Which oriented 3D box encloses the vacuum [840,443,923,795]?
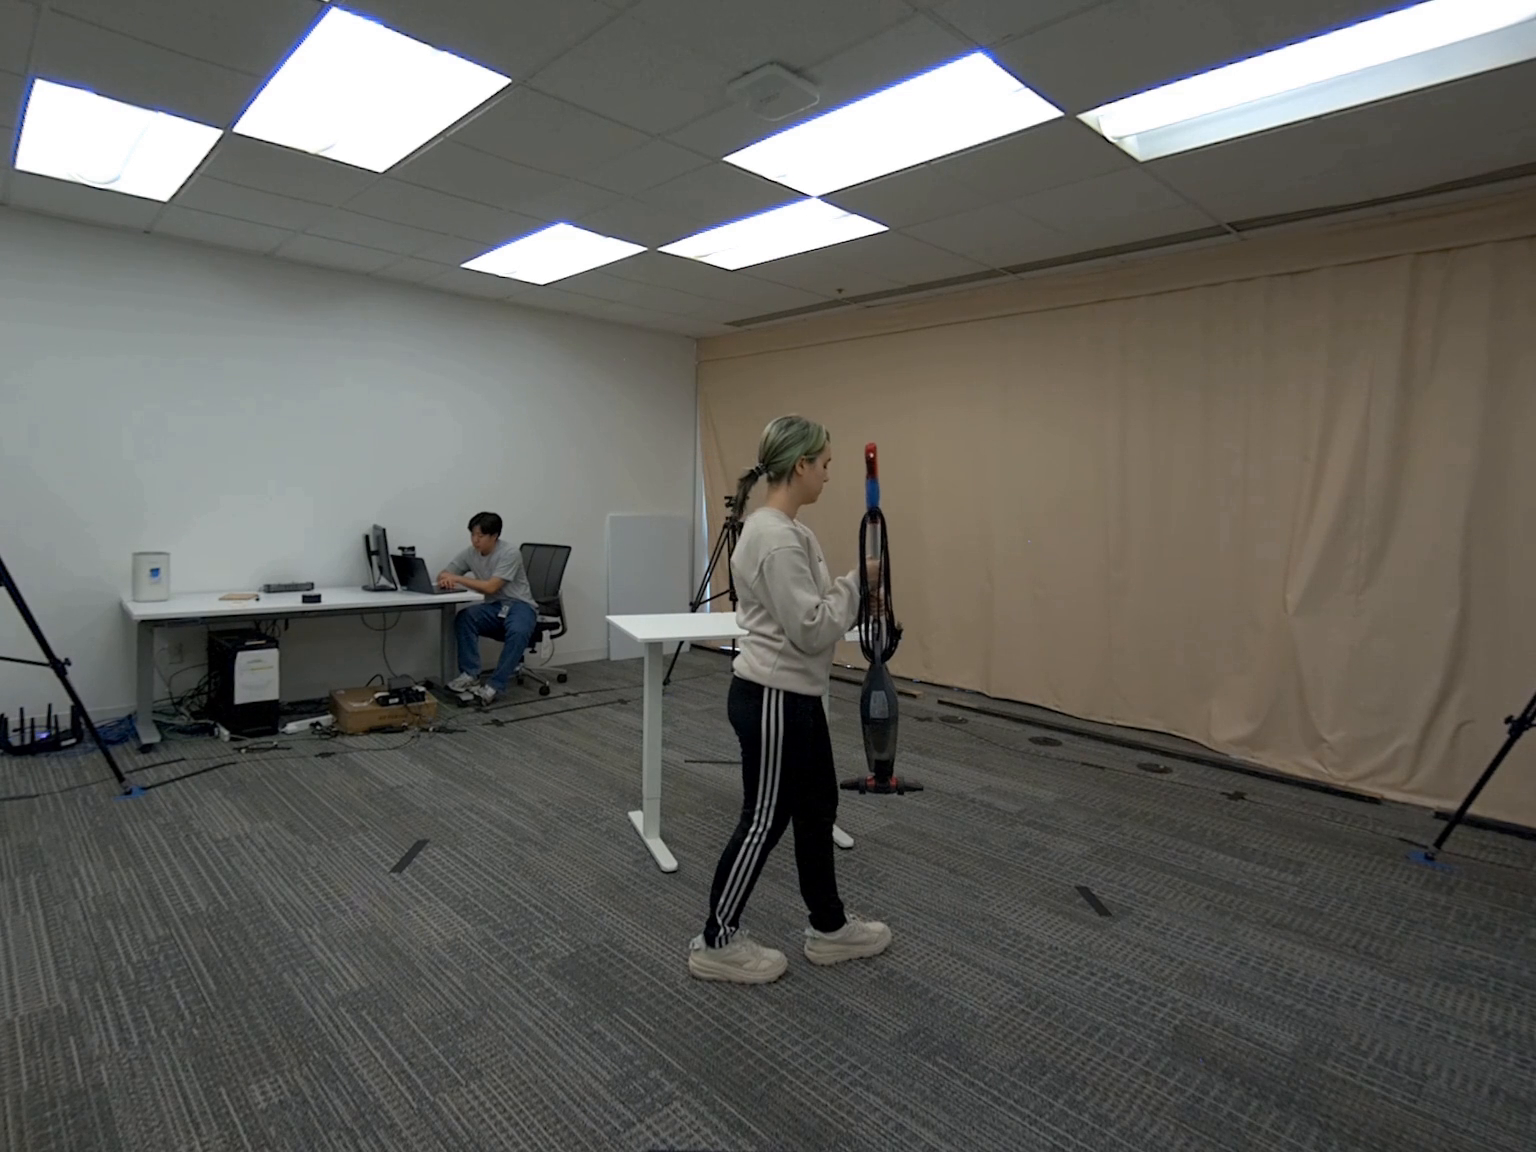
[{"bbox_3d":[0.309,0.151,2.375,0.254,1.035,0.145,-2,18,6],"label":"vacuum"}]
